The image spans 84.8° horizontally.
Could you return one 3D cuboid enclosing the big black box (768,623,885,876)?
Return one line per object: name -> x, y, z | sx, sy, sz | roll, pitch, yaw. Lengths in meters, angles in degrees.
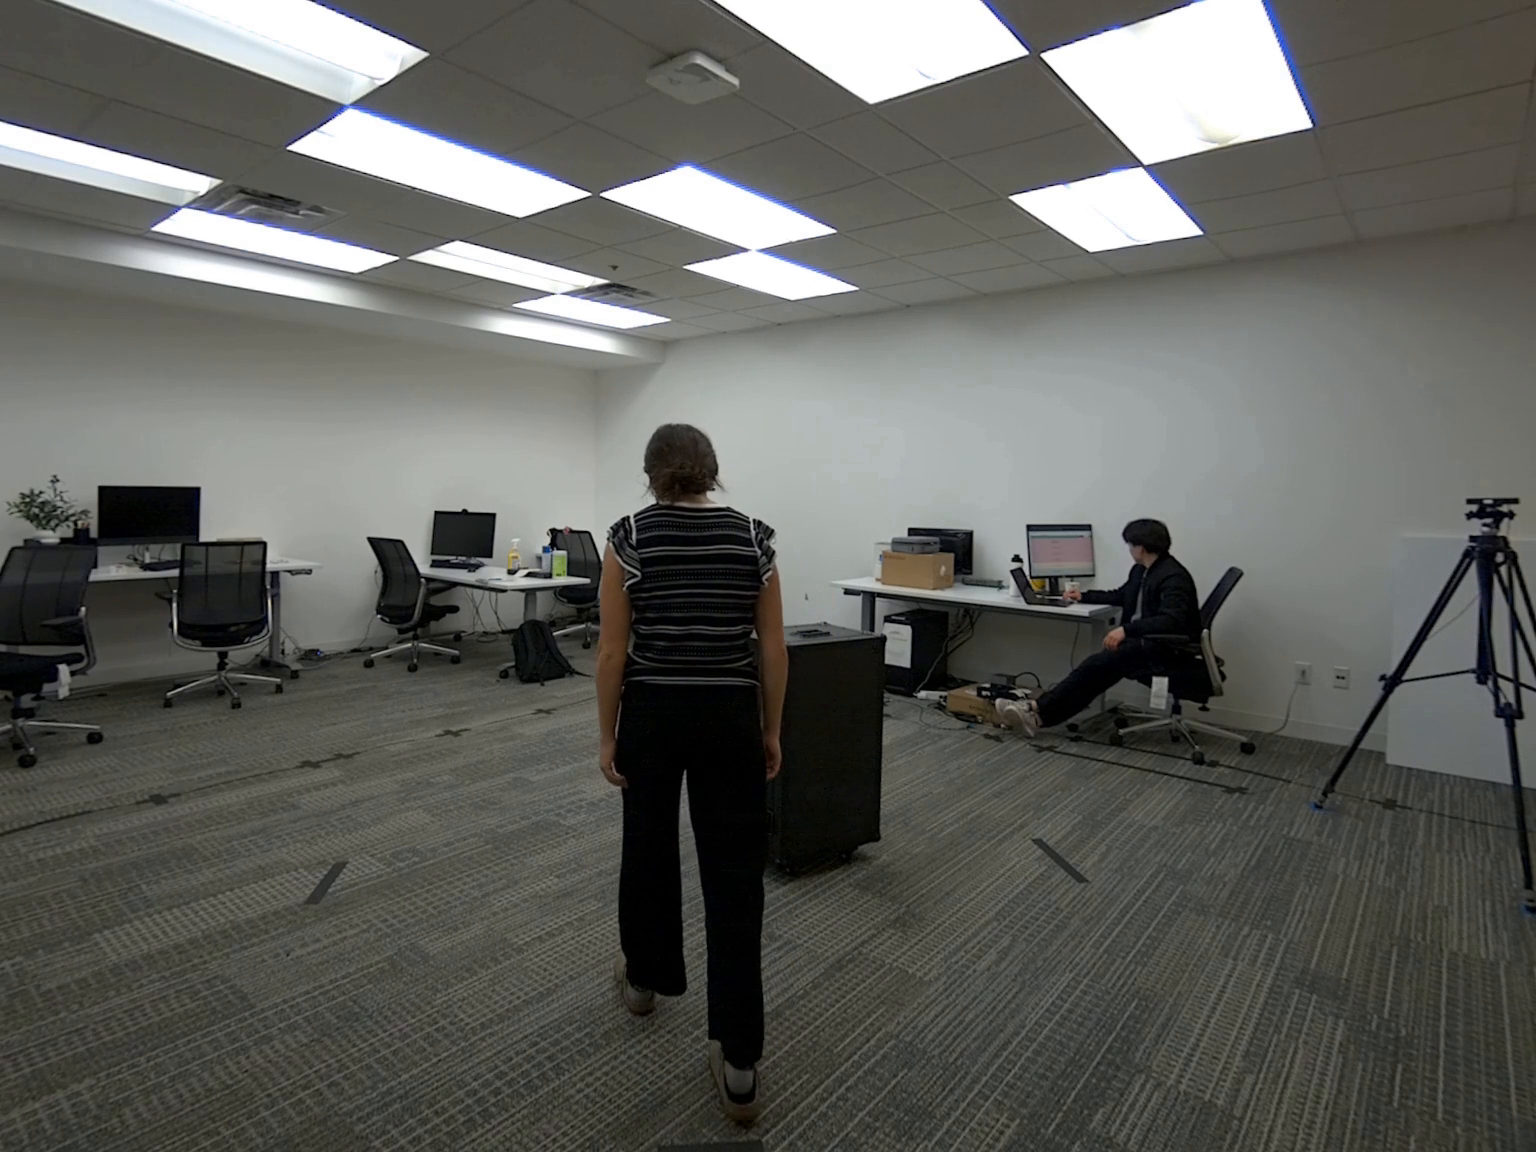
big black box -> 0.122, 0.634, 3.228 | 0.506, 0.859, 0.409 | -1, 3, -35
